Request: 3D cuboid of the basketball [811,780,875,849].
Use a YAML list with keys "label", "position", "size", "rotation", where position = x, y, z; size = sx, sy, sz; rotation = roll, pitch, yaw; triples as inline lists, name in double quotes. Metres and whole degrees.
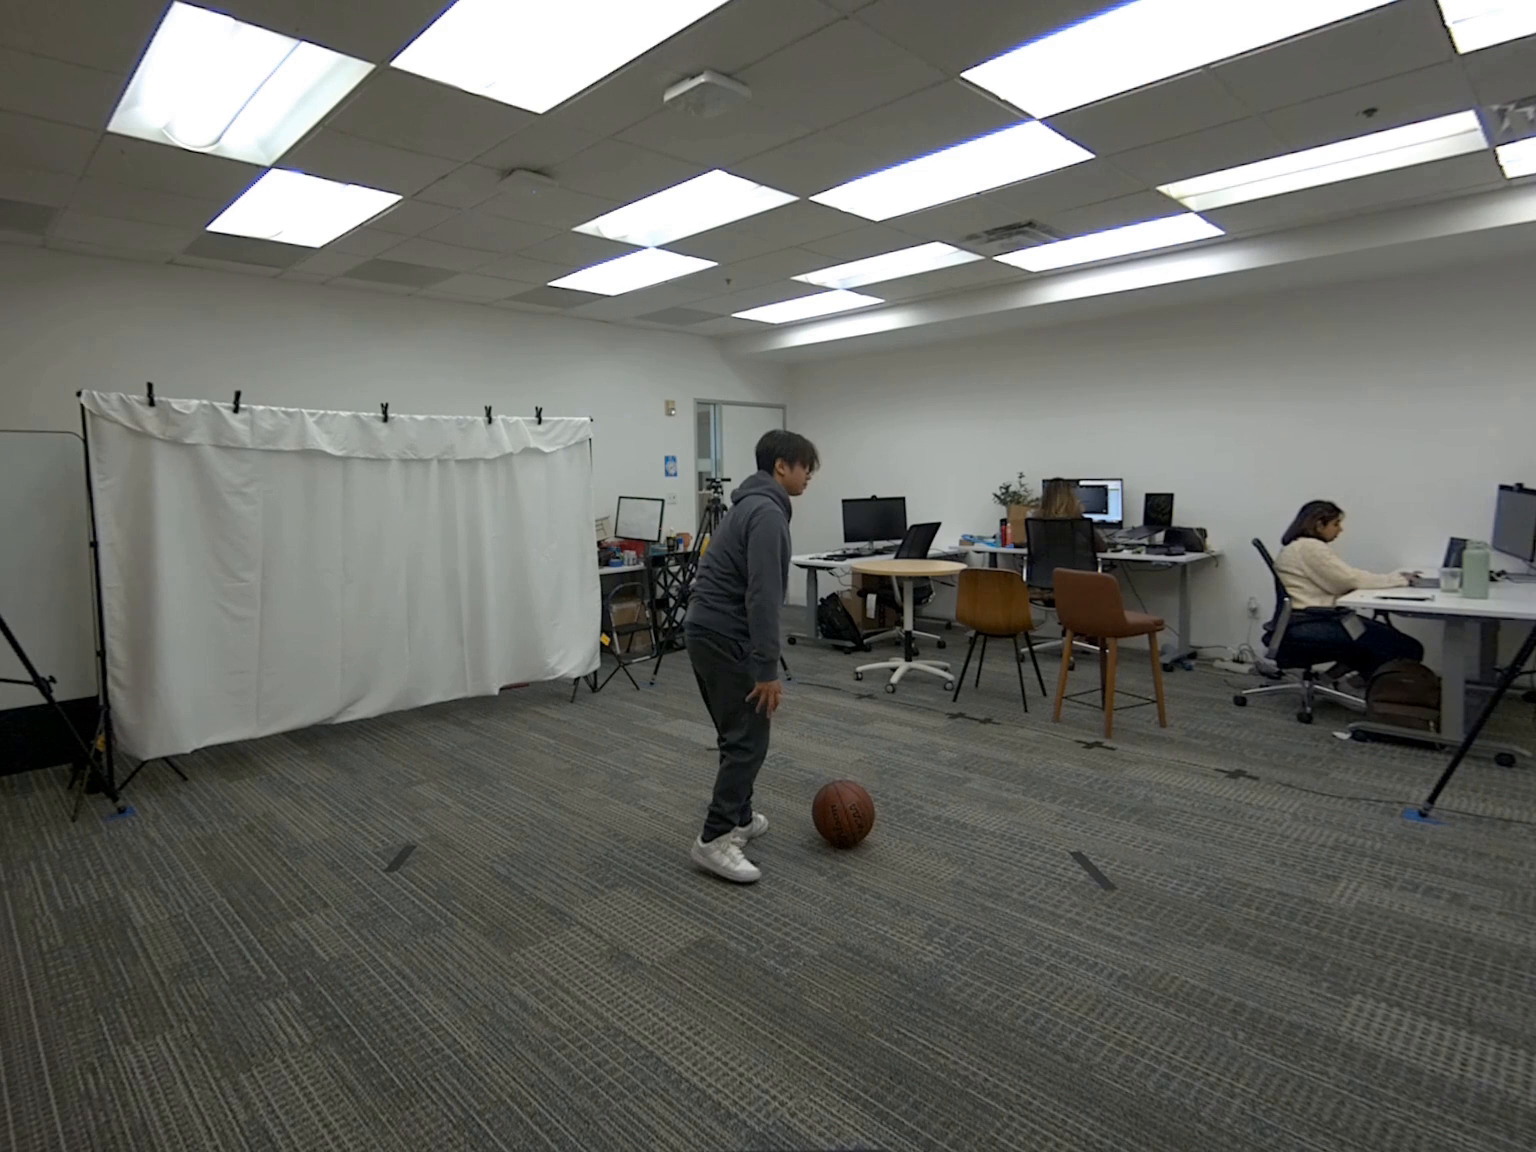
- label: "basketball"
  position: [0.294, 0.897, 3.255]
  size: [0.236, 0.235, 0.237]
  rotation: [-1, 5, -2]
